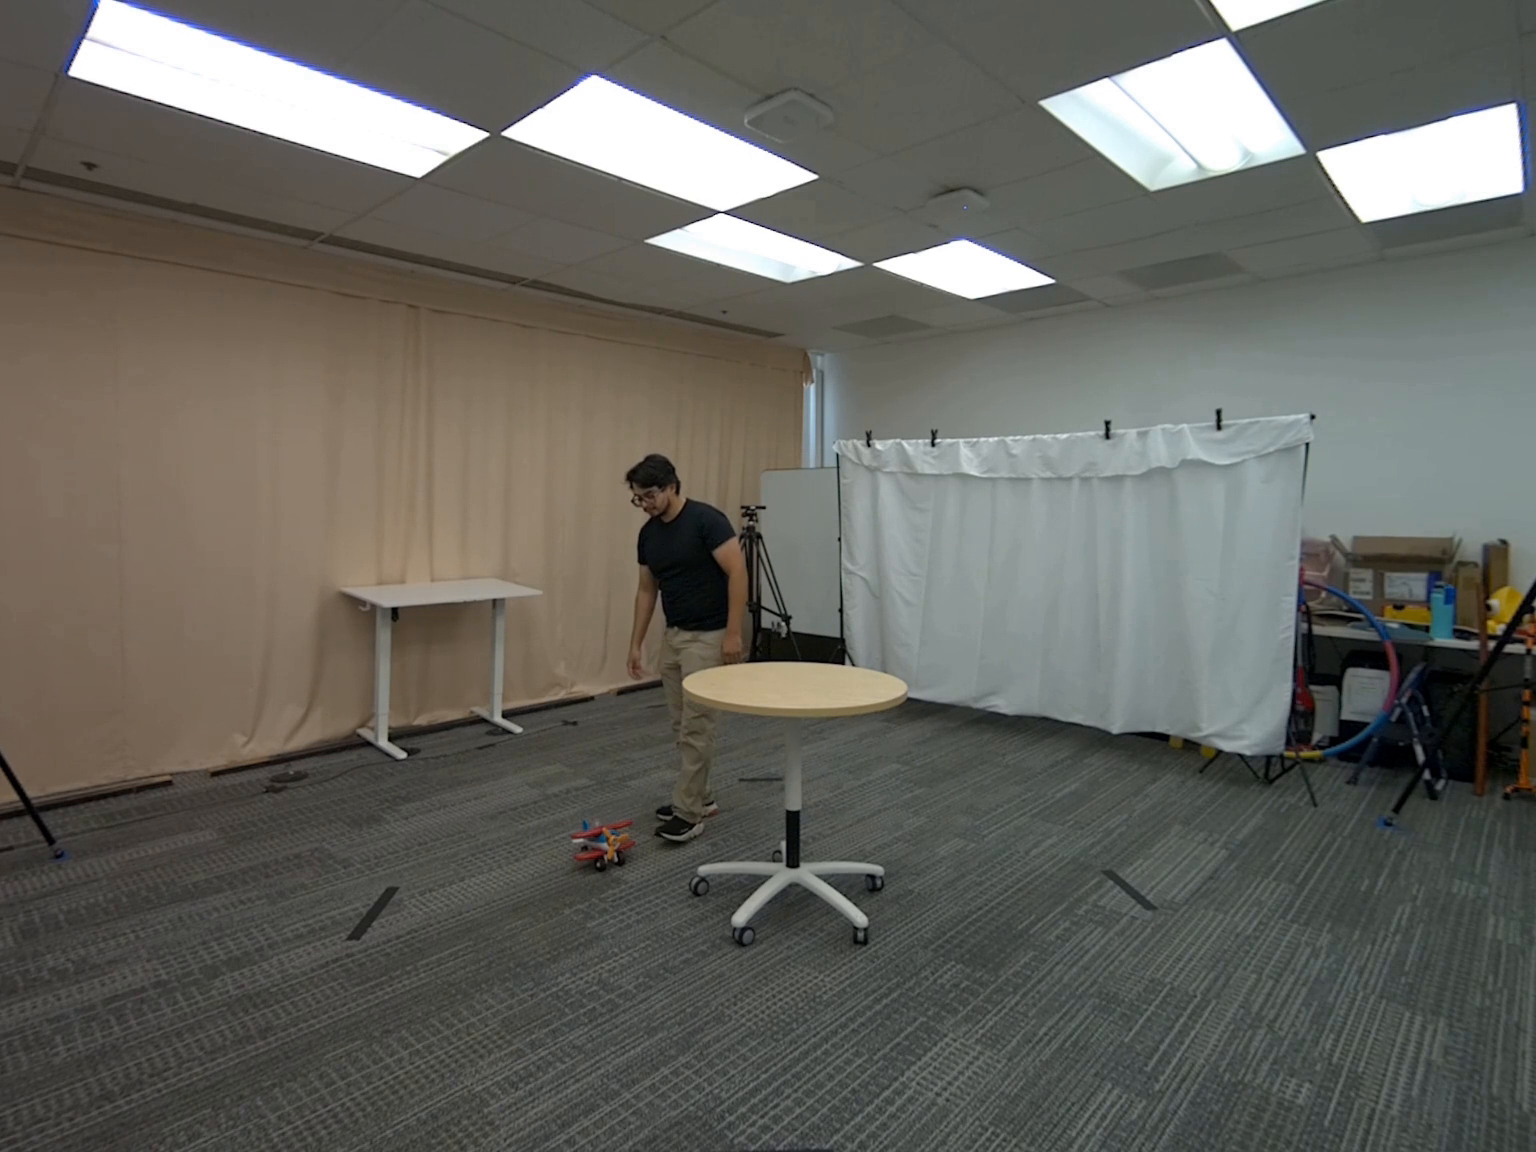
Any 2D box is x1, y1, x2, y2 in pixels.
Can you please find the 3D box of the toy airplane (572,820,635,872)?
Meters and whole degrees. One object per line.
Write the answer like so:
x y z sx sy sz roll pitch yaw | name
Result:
-0.678 1.048 3.302 0.266 0.156 0.245 3 6 24 | toy airplane
